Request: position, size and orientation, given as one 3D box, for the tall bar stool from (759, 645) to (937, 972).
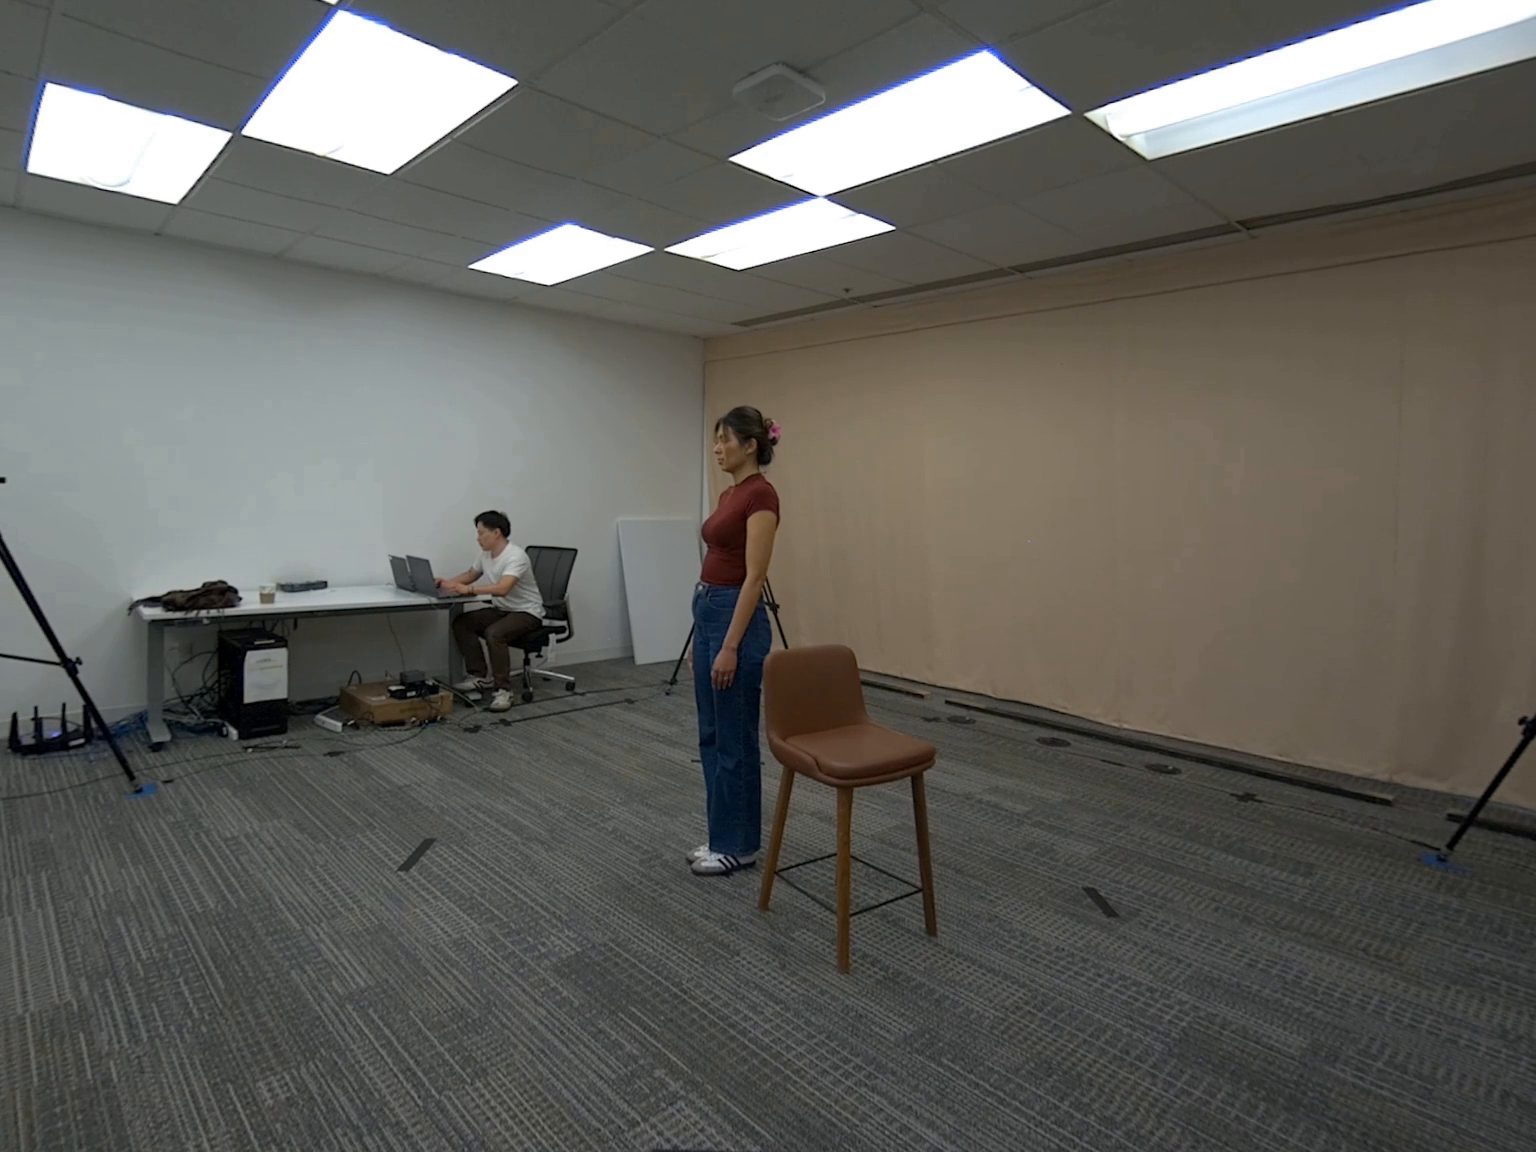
[{"bbox_3d":[0.249,0.708,2.748,0.446,0.888,0.478,-1,2,-35],"label":"tall bar stool"}]
